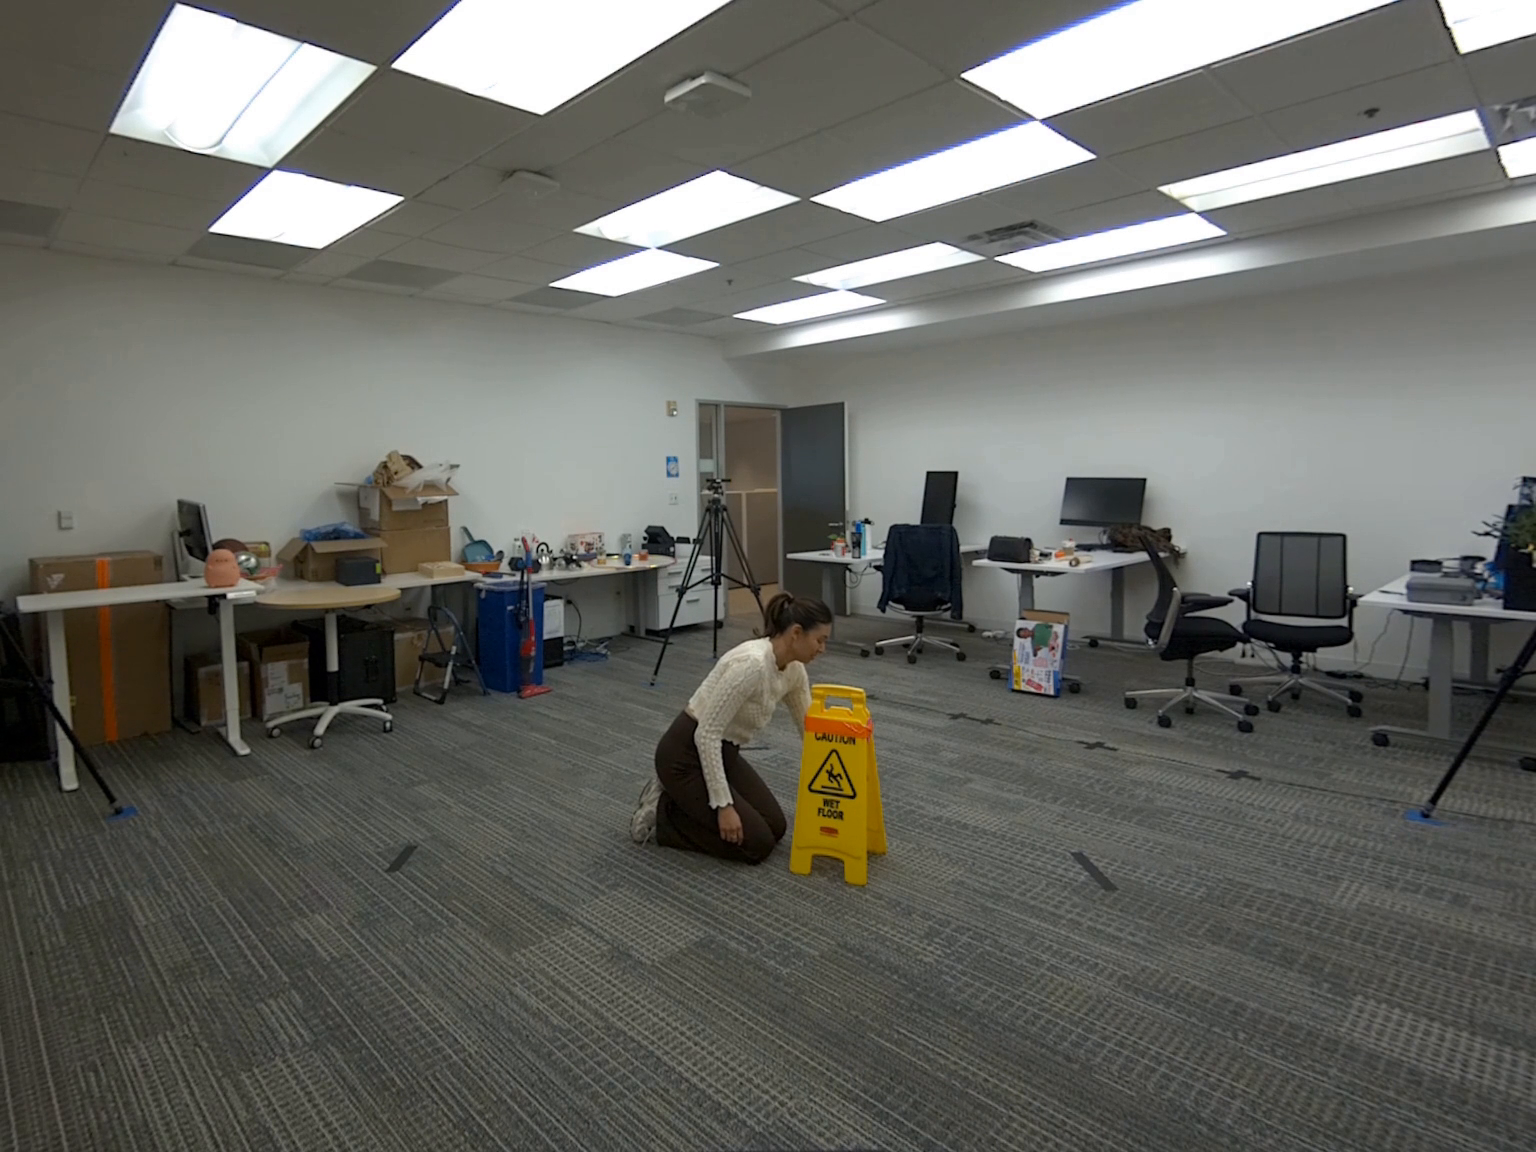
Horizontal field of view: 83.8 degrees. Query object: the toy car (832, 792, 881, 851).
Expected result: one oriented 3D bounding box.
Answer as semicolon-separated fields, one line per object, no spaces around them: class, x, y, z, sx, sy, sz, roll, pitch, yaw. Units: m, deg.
toy car;0.351;0.965;3.393;0.133;0.082;0.253;0;17;19
